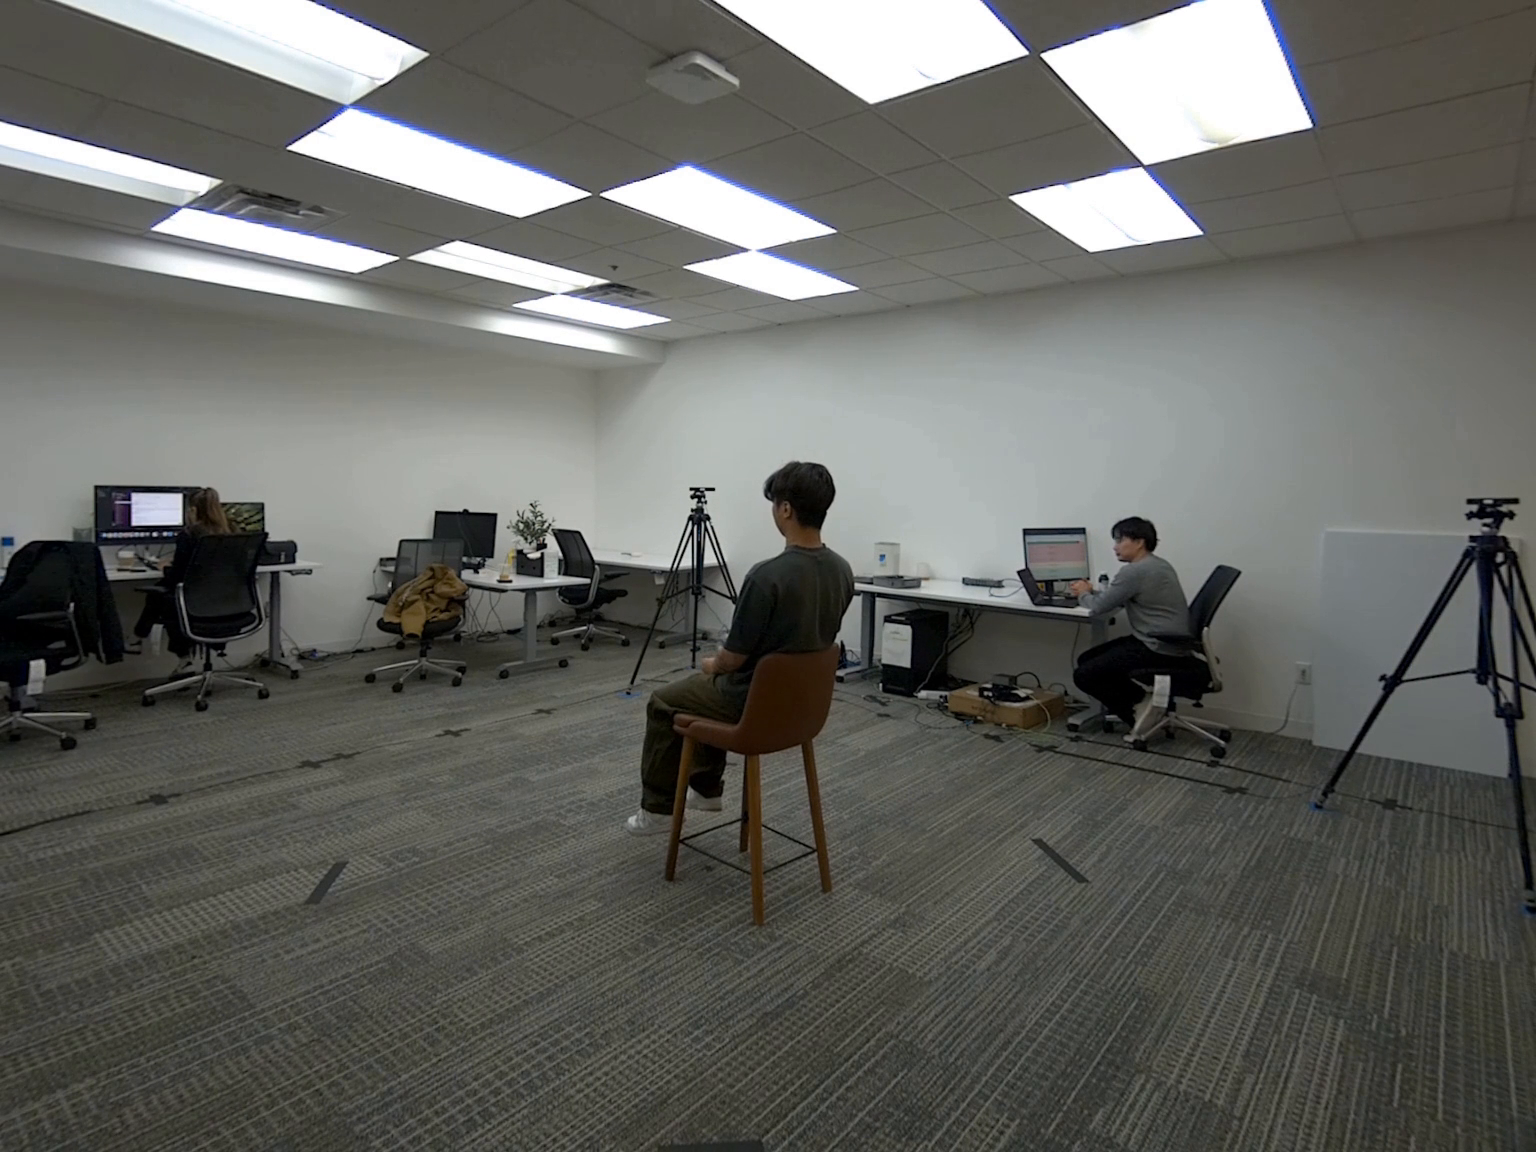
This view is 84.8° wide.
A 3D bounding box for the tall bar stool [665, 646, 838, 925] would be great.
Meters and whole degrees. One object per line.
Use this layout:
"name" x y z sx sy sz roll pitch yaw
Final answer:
"tall bar stool" -0.050 0.650 2.959 0.484 0.886 0.442 8 6 44
